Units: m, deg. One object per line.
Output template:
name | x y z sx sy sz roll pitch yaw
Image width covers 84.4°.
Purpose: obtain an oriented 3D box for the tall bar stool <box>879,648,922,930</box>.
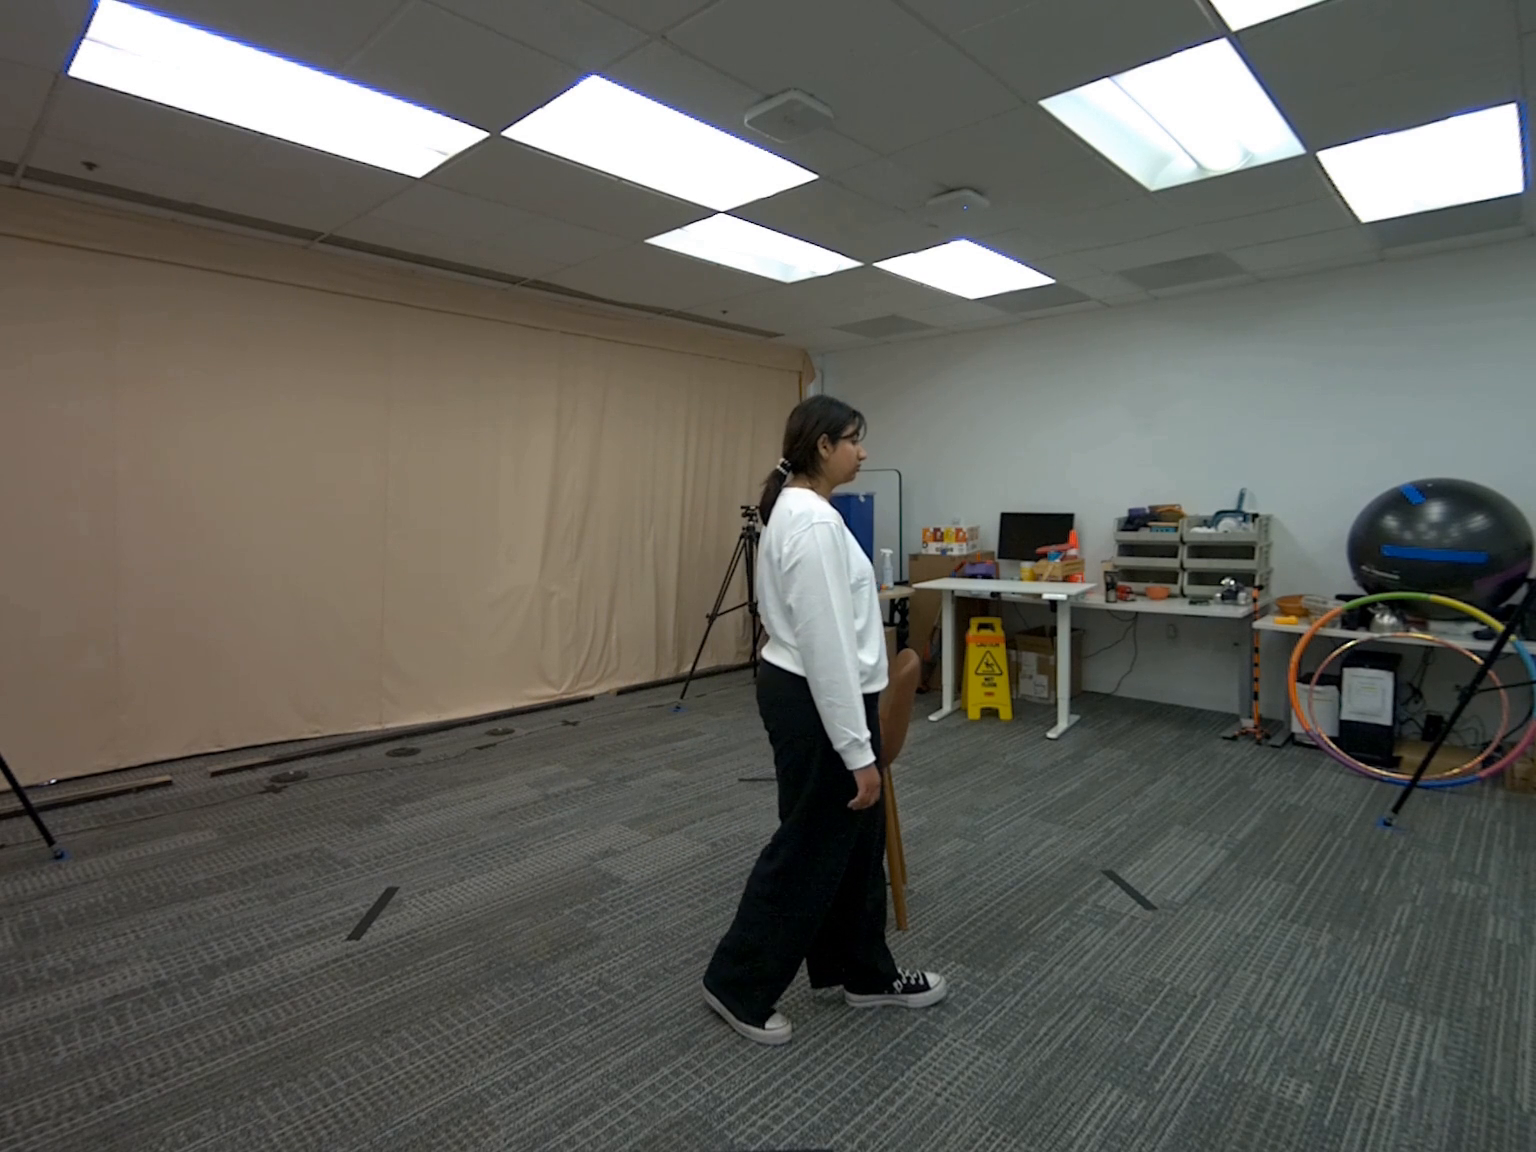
tall bar stool | 0.279 0.712 2.963 0.475 0.888 0.451 2 4 13
